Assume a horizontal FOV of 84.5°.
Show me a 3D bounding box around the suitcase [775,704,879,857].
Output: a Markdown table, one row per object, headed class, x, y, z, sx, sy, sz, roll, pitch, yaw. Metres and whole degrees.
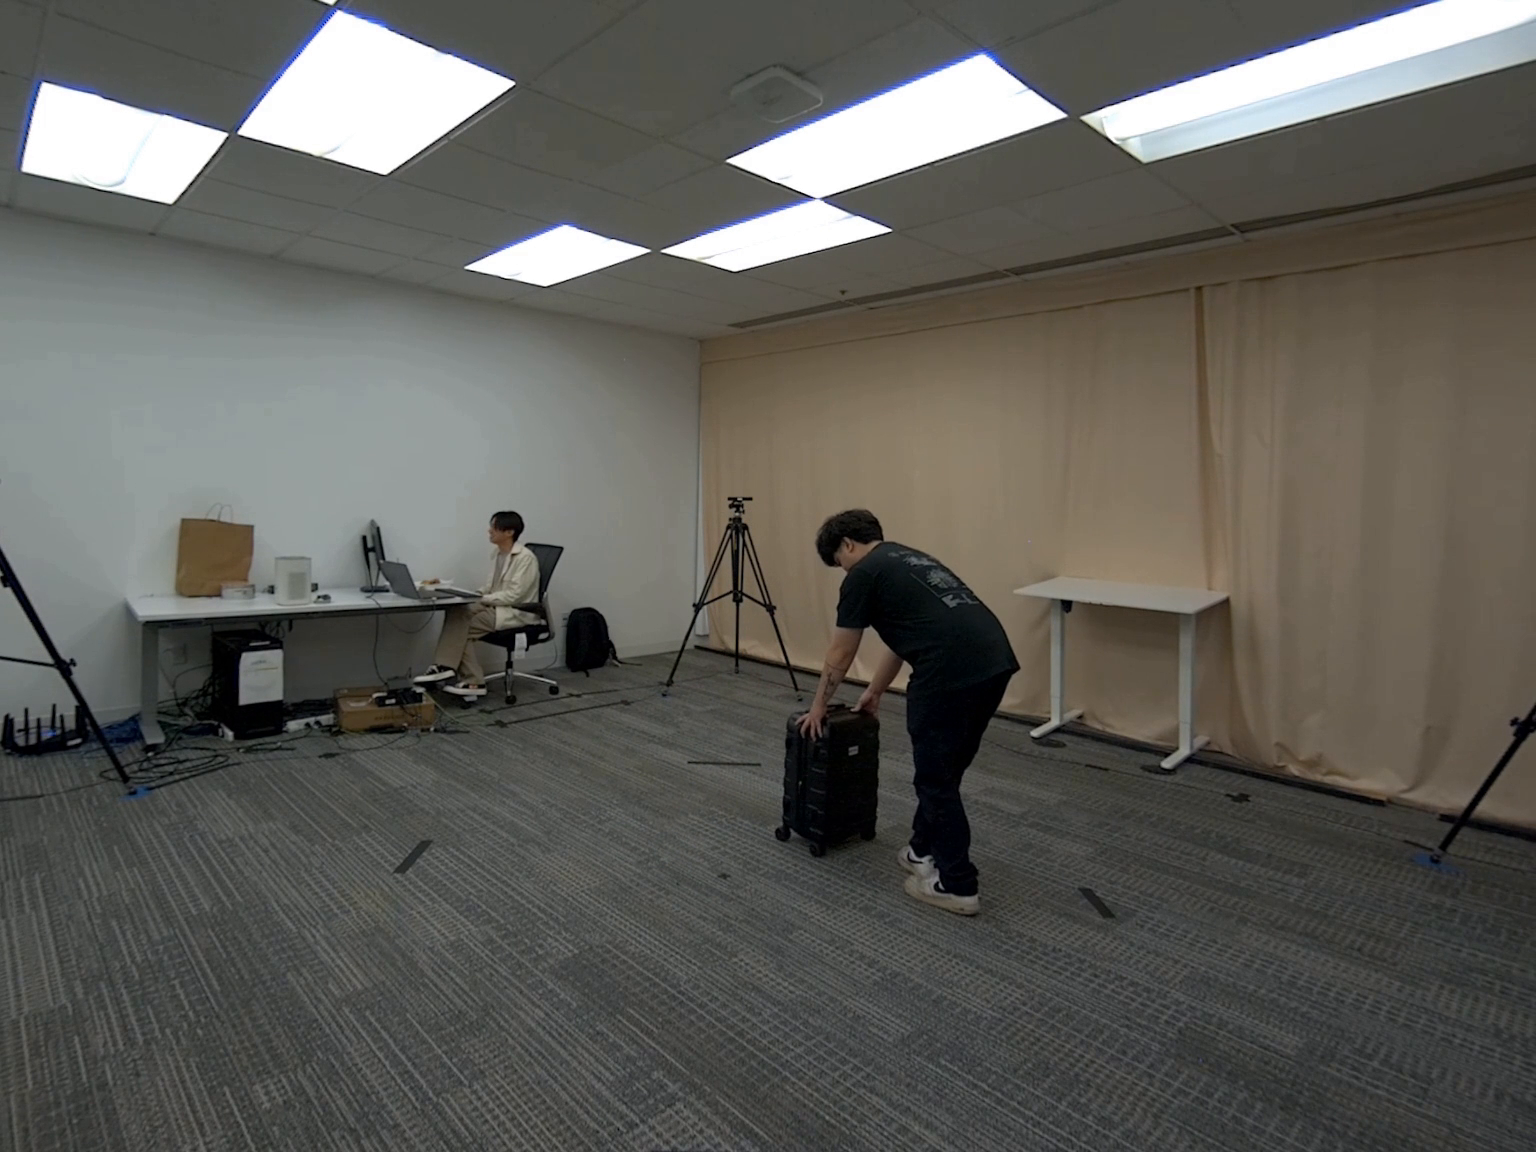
| class | x | y | z | sx | sy | sz | roll | pitch | yaw |
| --- | --- | --- | --- | --- | --- | --- | --- | --- | --- |
| suitcase | 0.248 | 0.814 | 3.451 | 0.367 | 0.547 | 0.255 | -1 | 6 | -40 |
